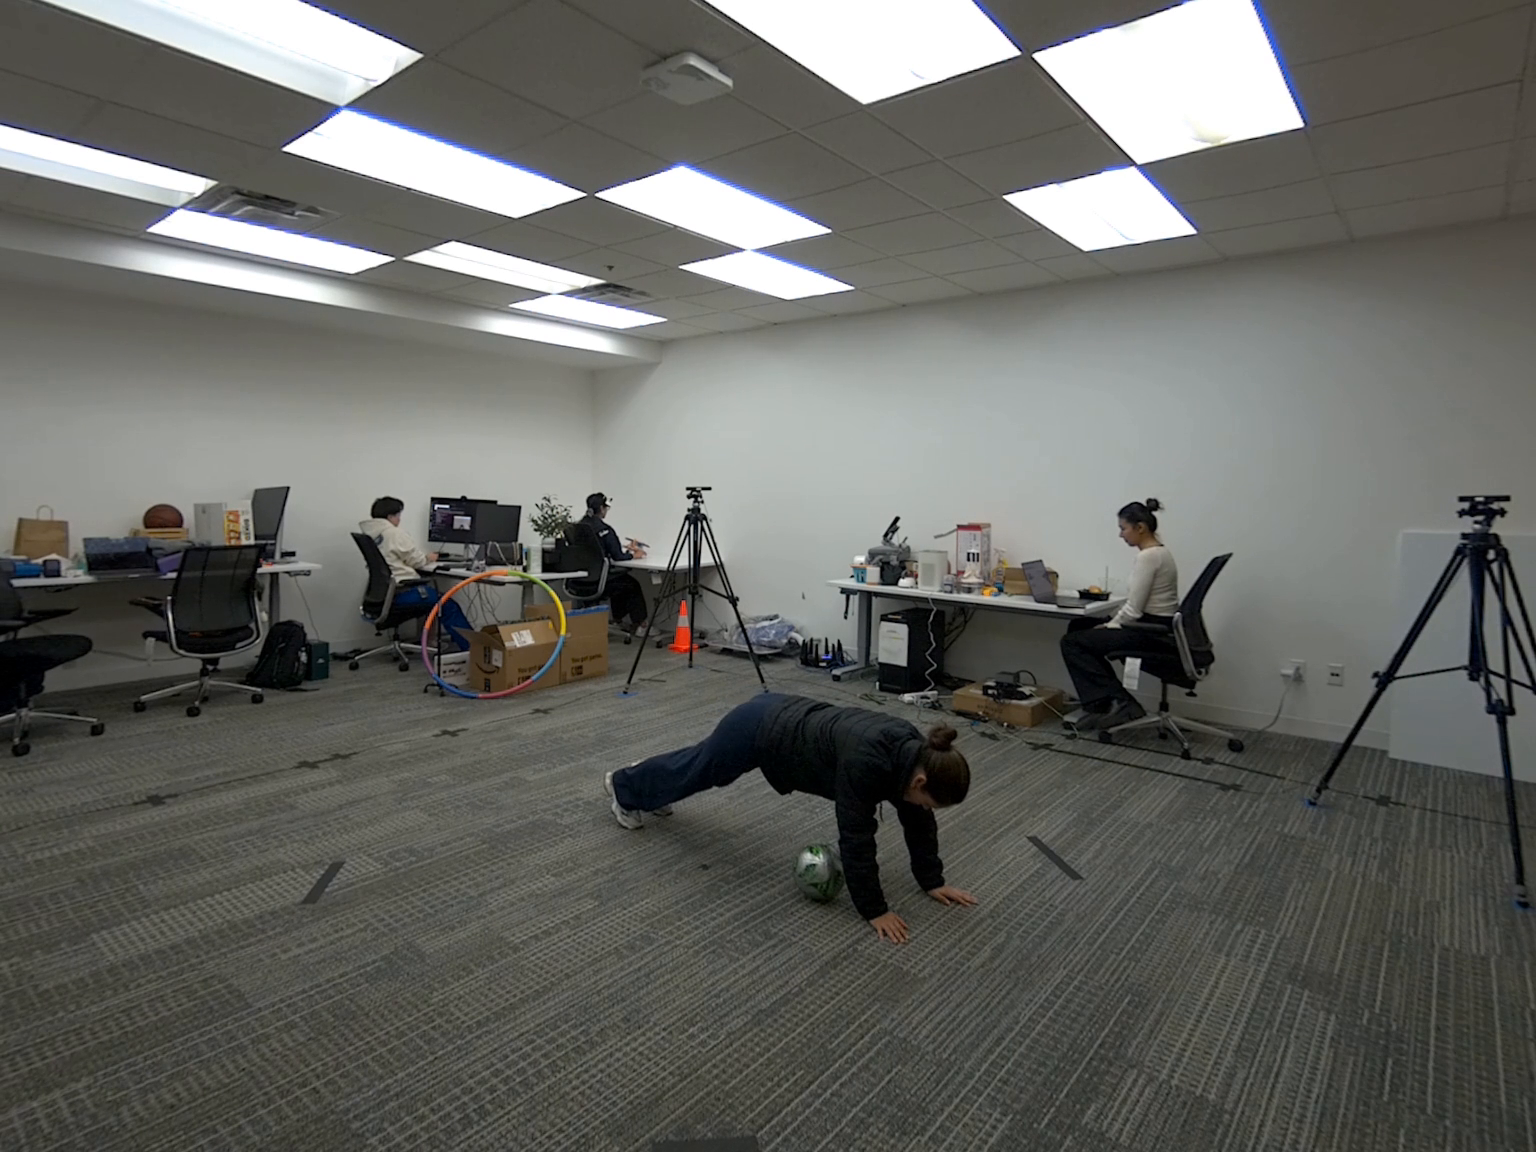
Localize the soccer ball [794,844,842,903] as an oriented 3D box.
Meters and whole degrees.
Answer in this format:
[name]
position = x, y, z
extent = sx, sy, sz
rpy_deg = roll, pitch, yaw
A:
[soccer ball]
position = 0.166, 1.002, 2.901
extent = 0.187, 0.187, 0.188
rpy_deg = 1, 4, -2
